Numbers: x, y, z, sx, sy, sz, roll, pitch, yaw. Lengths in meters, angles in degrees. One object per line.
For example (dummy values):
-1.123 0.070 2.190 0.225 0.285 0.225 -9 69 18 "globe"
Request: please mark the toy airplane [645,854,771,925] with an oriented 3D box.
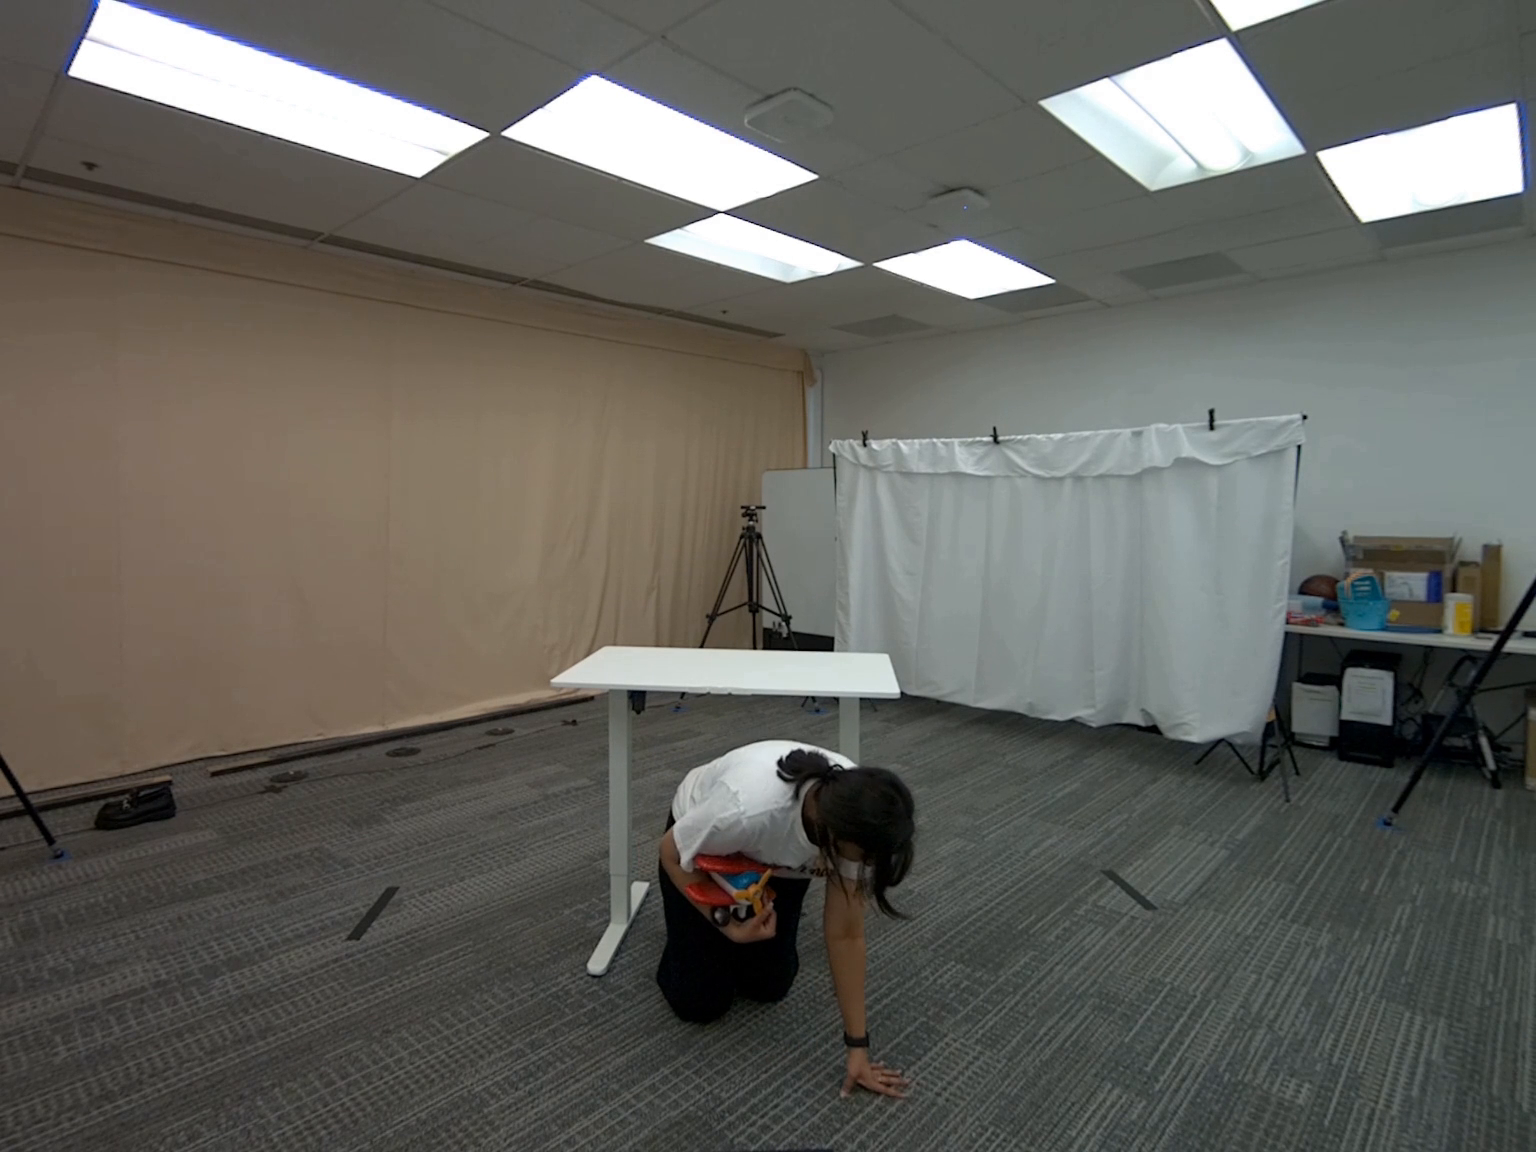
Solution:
-0.108 0.740 2.104 0.267 0.156 0.244 31 14 26 "toy airplane"
